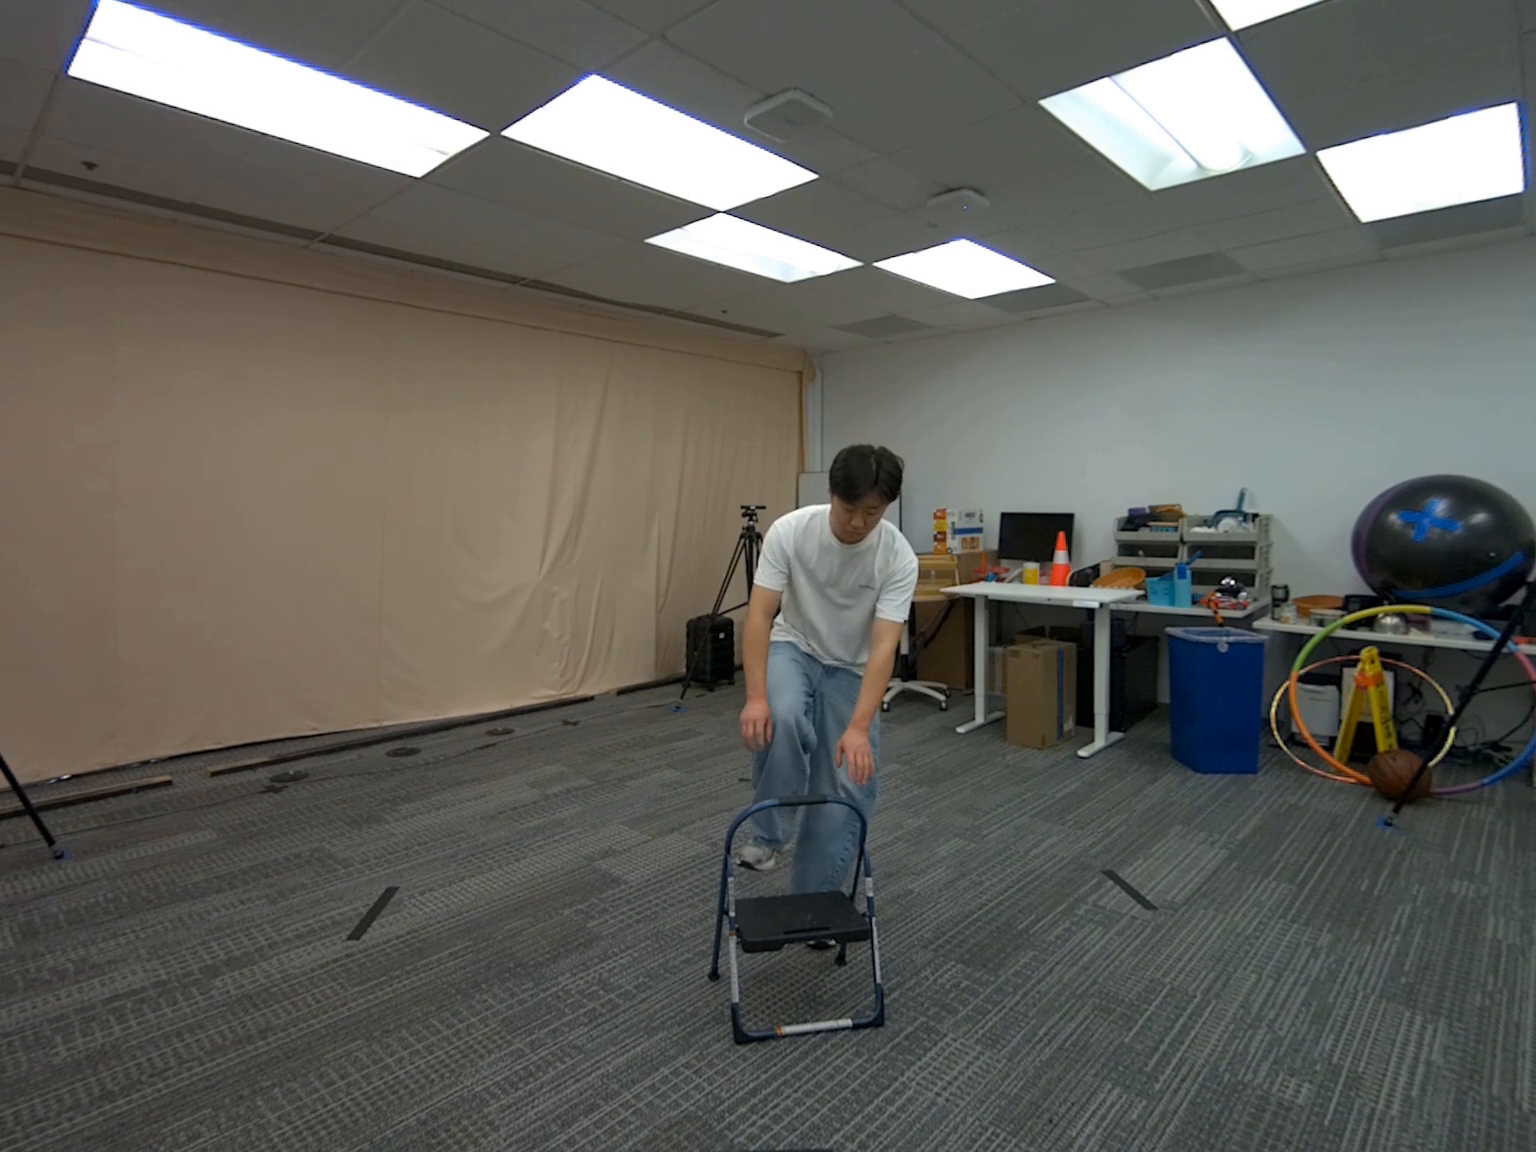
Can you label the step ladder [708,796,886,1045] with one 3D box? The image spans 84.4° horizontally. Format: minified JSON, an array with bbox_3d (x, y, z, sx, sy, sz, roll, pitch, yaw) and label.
[{"bbox_3d":[0.069,0.893,2.361,0.425,0.605,0.355,-1,4,-13],"label":"step ladder"}]
